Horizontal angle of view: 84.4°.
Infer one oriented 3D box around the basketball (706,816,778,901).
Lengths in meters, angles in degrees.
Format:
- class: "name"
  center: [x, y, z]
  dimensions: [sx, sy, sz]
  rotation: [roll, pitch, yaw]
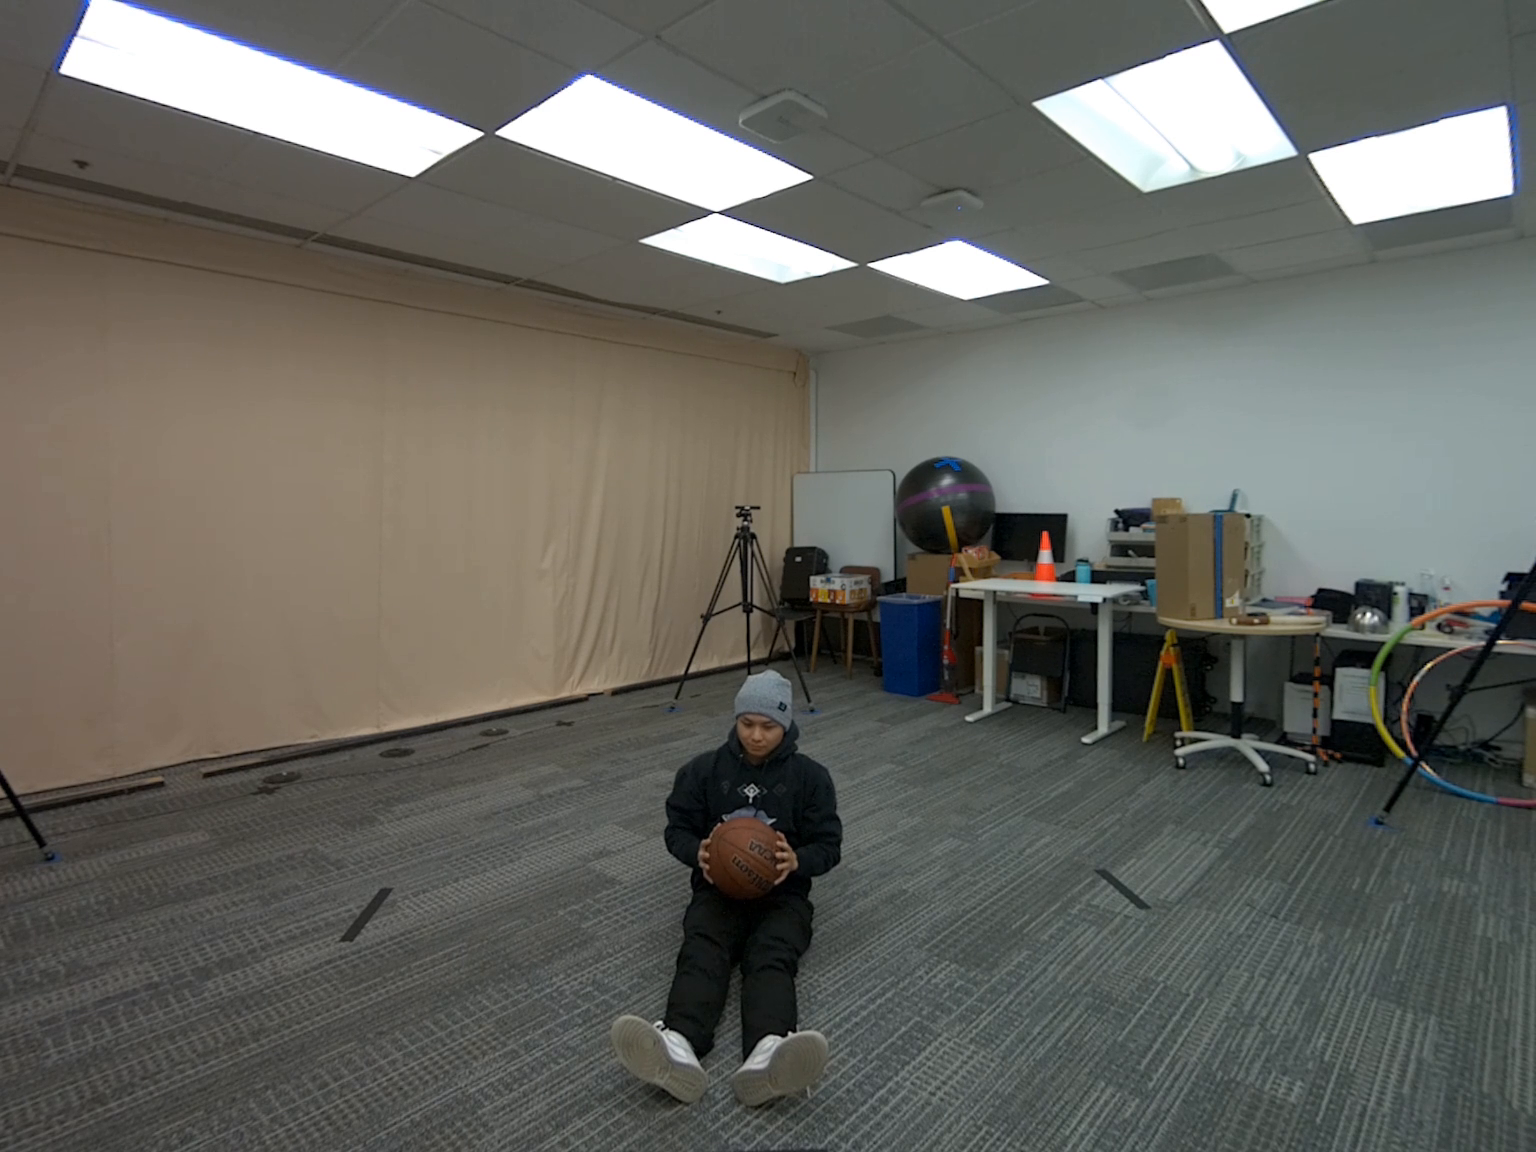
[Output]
- class: "basketball"
  center: [-0.074, 0.852, 2.571]
  dimensions: [0.236, 0.235, 0.237]
  rotation: [0, 4, -2]
